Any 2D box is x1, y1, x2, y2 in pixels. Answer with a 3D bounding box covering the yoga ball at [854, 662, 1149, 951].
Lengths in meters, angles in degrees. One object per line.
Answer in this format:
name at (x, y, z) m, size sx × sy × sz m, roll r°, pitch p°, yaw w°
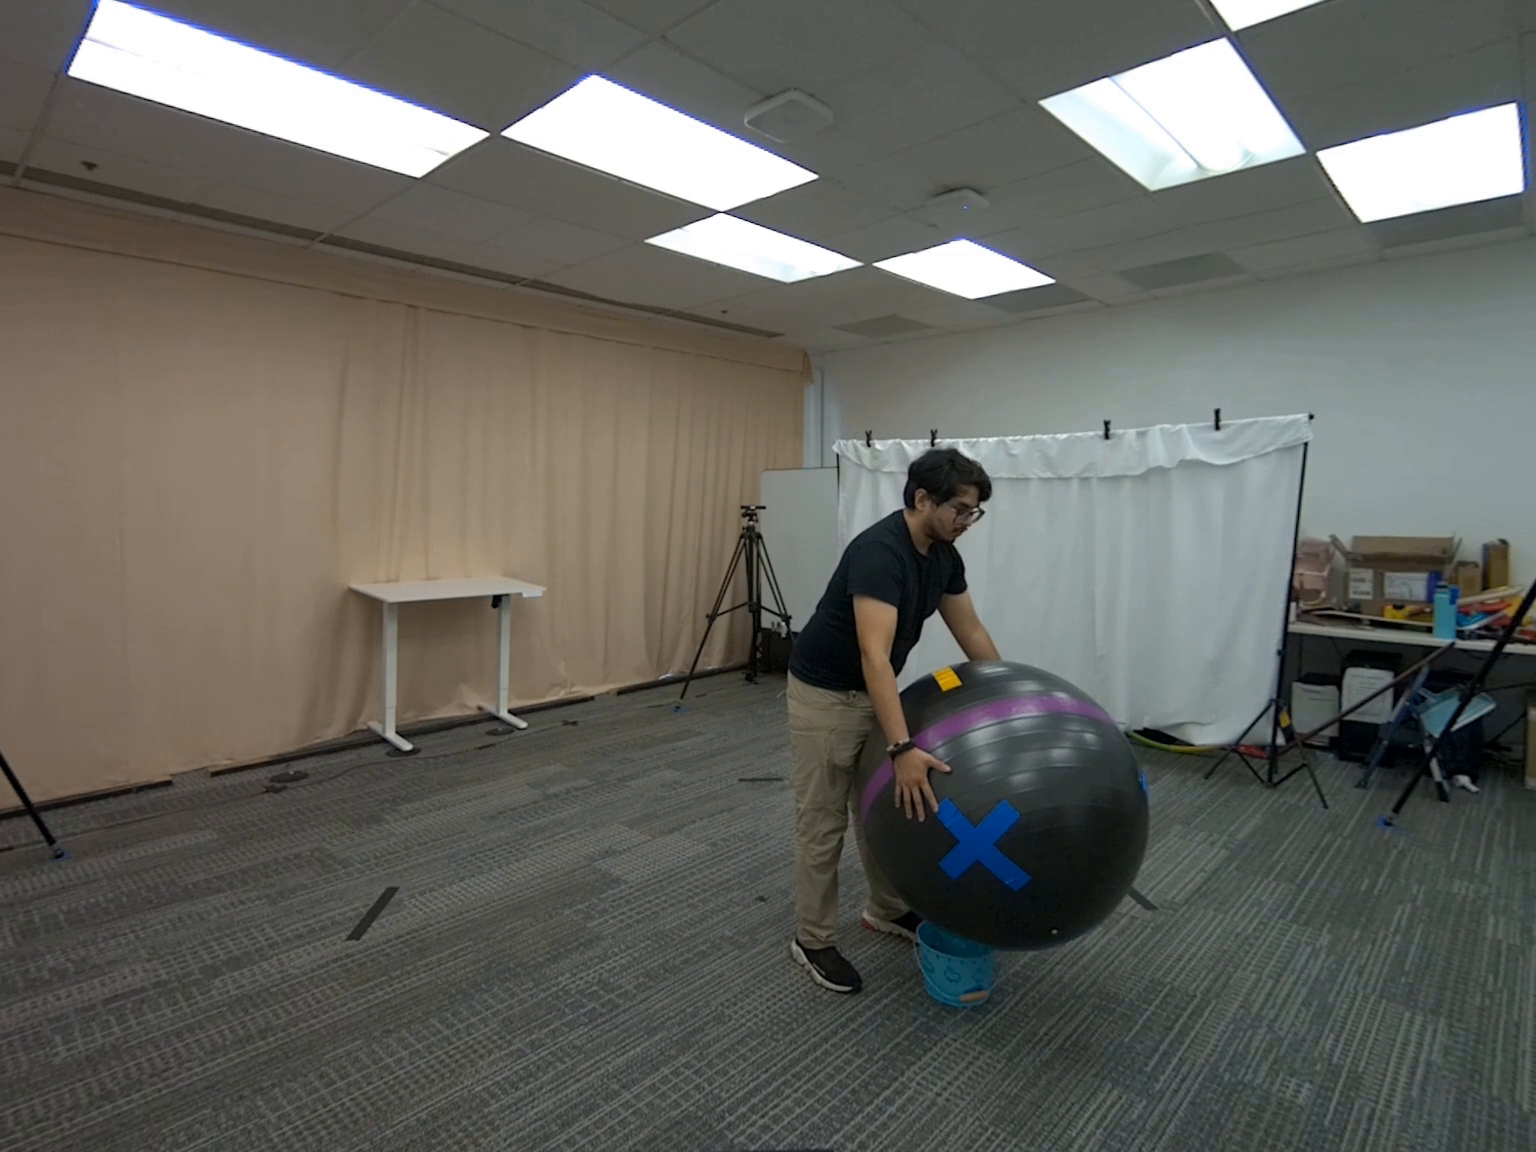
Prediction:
yoga ball at (0.641, 0.621, 2.316) m, size 0.757 × 0.756 × 0.760 m, roll 0°, pitch 4°, yaw -2°
